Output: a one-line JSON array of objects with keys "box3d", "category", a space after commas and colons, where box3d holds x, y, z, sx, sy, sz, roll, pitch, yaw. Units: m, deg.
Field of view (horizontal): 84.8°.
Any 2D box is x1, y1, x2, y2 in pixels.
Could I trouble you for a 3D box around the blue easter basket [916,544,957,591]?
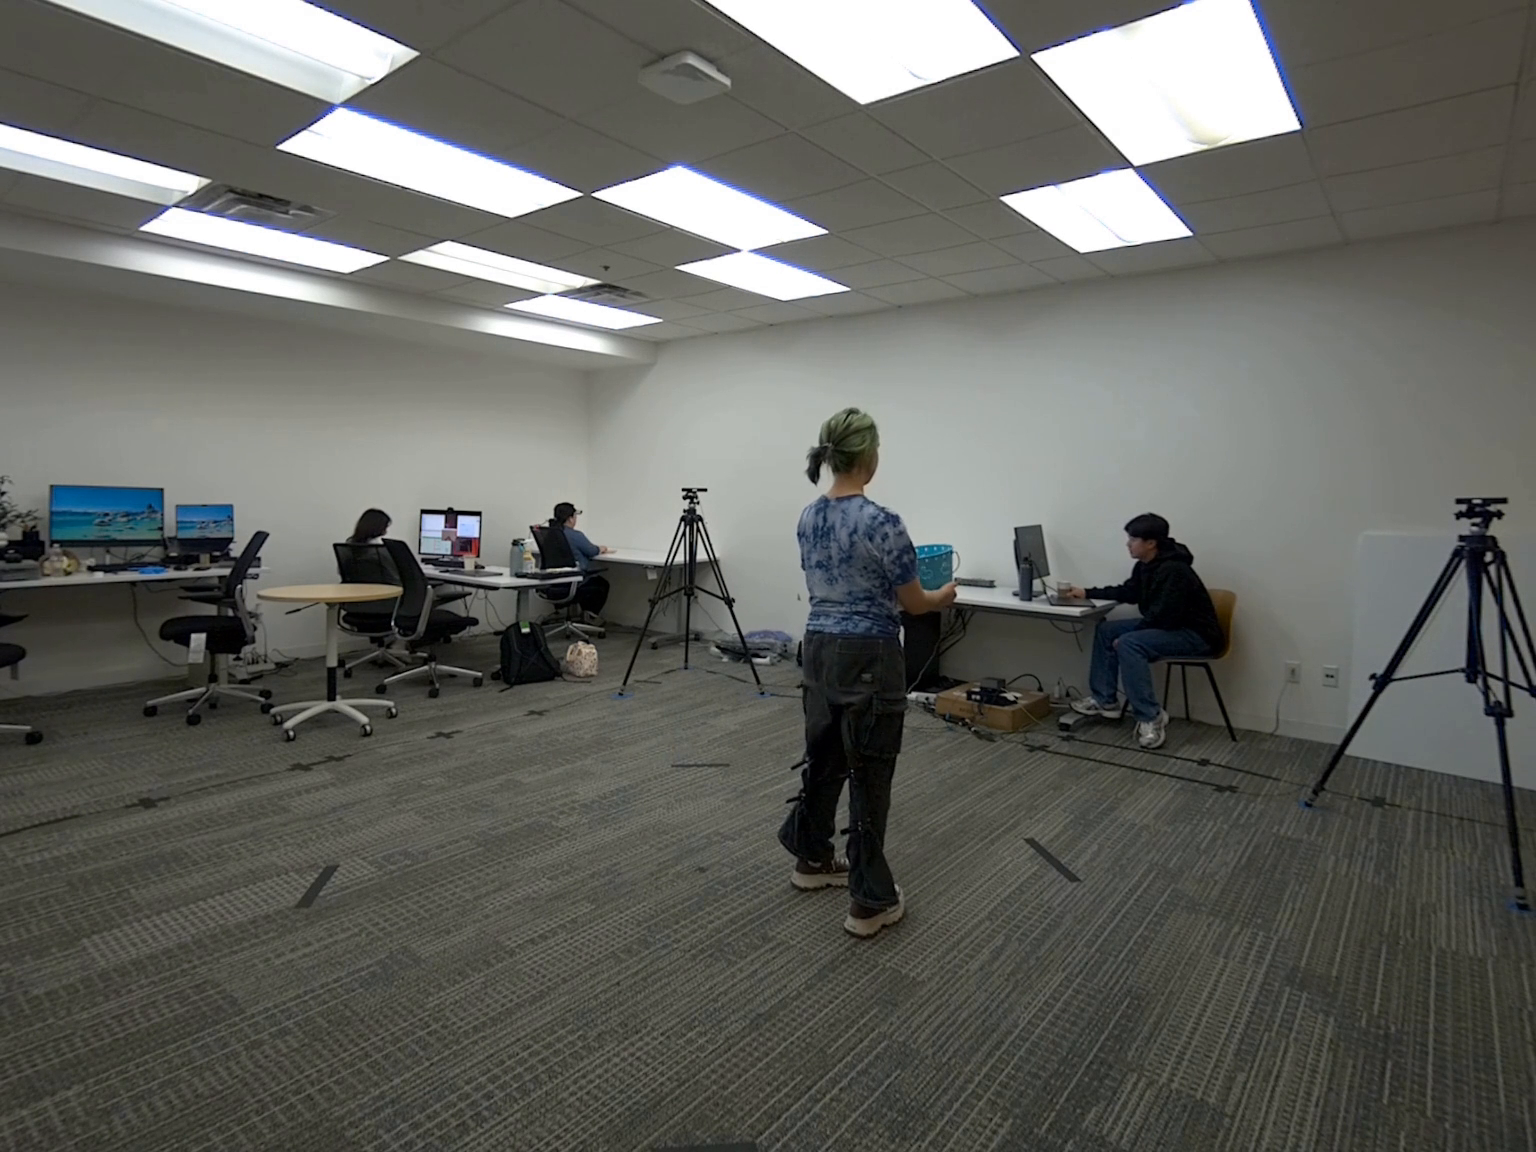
[{"box3d": [0.561, -0.015, 3.041, 0.243, 0.155, 0.245, -10, 7, -1], "category": "blue easter basket"}]
